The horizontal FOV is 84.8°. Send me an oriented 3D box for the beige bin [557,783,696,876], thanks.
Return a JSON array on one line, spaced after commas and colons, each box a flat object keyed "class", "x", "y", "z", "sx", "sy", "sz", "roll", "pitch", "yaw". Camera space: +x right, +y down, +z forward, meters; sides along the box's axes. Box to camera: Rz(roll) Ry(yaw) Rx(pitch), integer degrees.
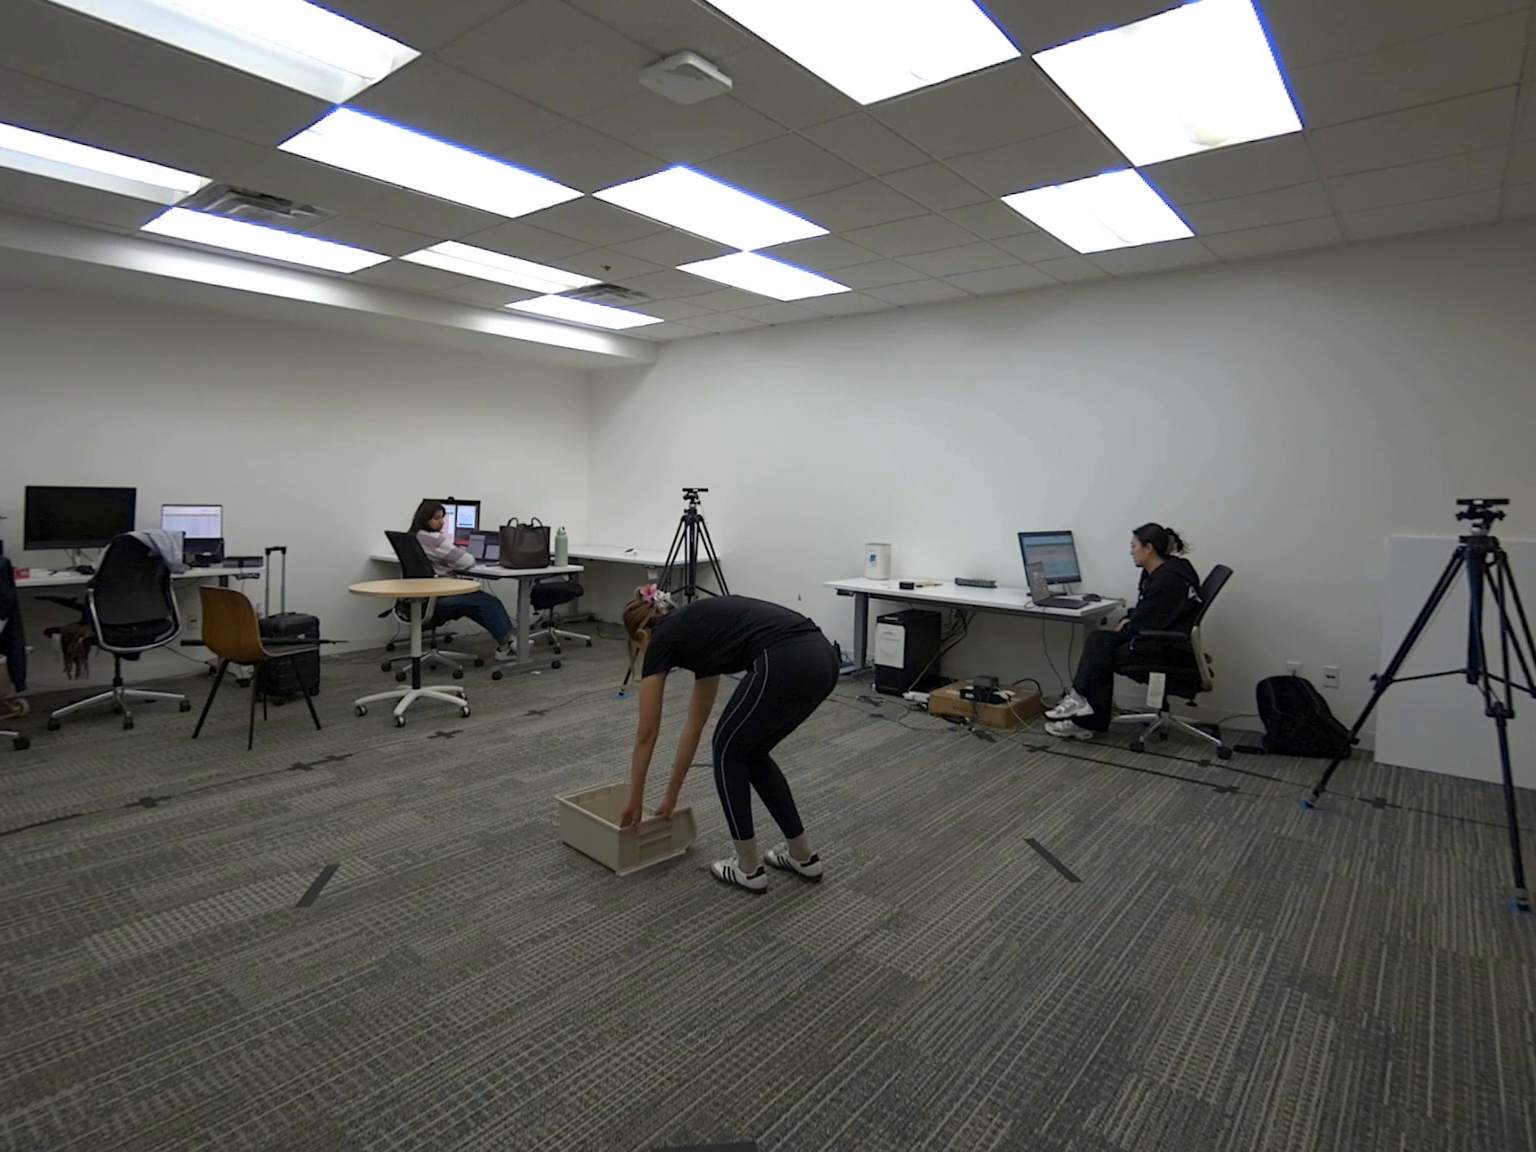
[{"class": "beige bin", "x": -0.564, "y": 0.956, "z": 3.298, "sx": 0.437, "sy": 0.188, "sz": 0.366, "roll": 7, "pitch": 9, "yaw": 44}]
